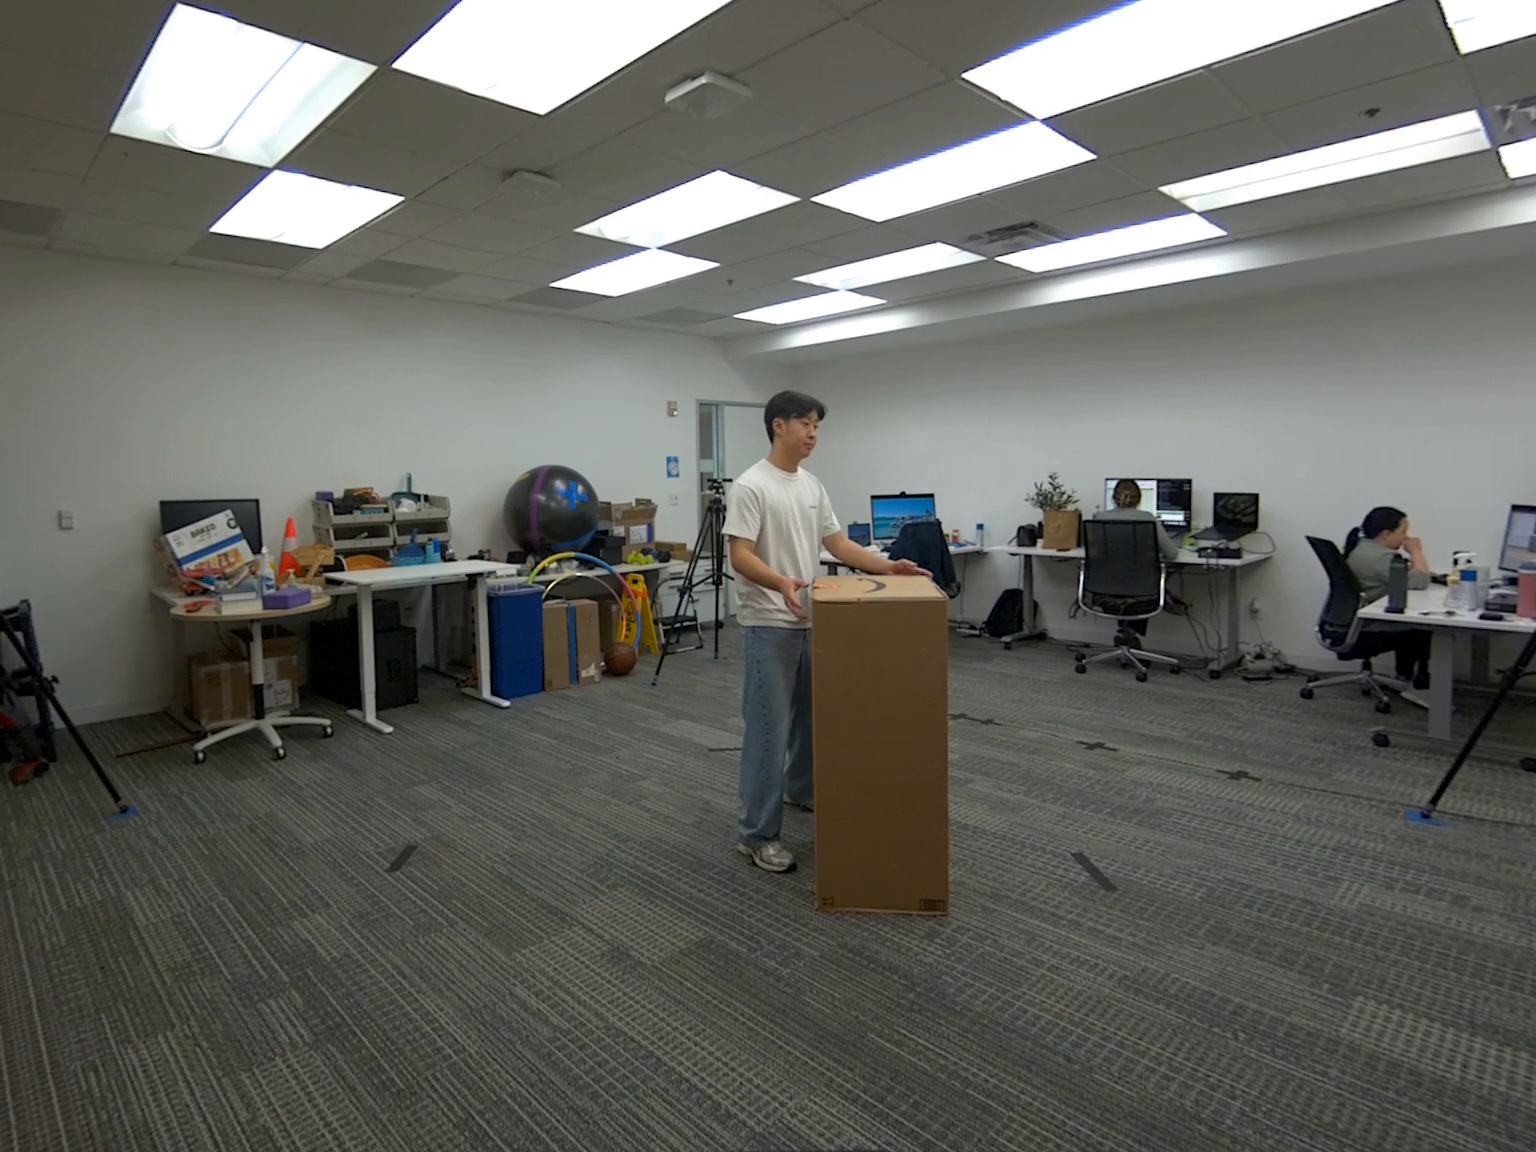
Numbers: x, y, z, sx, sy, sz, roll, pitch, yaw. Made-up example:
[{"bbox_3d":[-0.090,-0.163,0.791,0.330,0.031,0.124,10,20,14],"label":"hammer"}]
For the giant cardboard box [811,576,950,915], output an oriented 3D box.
[{"bbox_3d":[0.385,0.544,2.974,0.429,1.022,0.576,-1,4,6],"label":"giant cardboard box"}]
